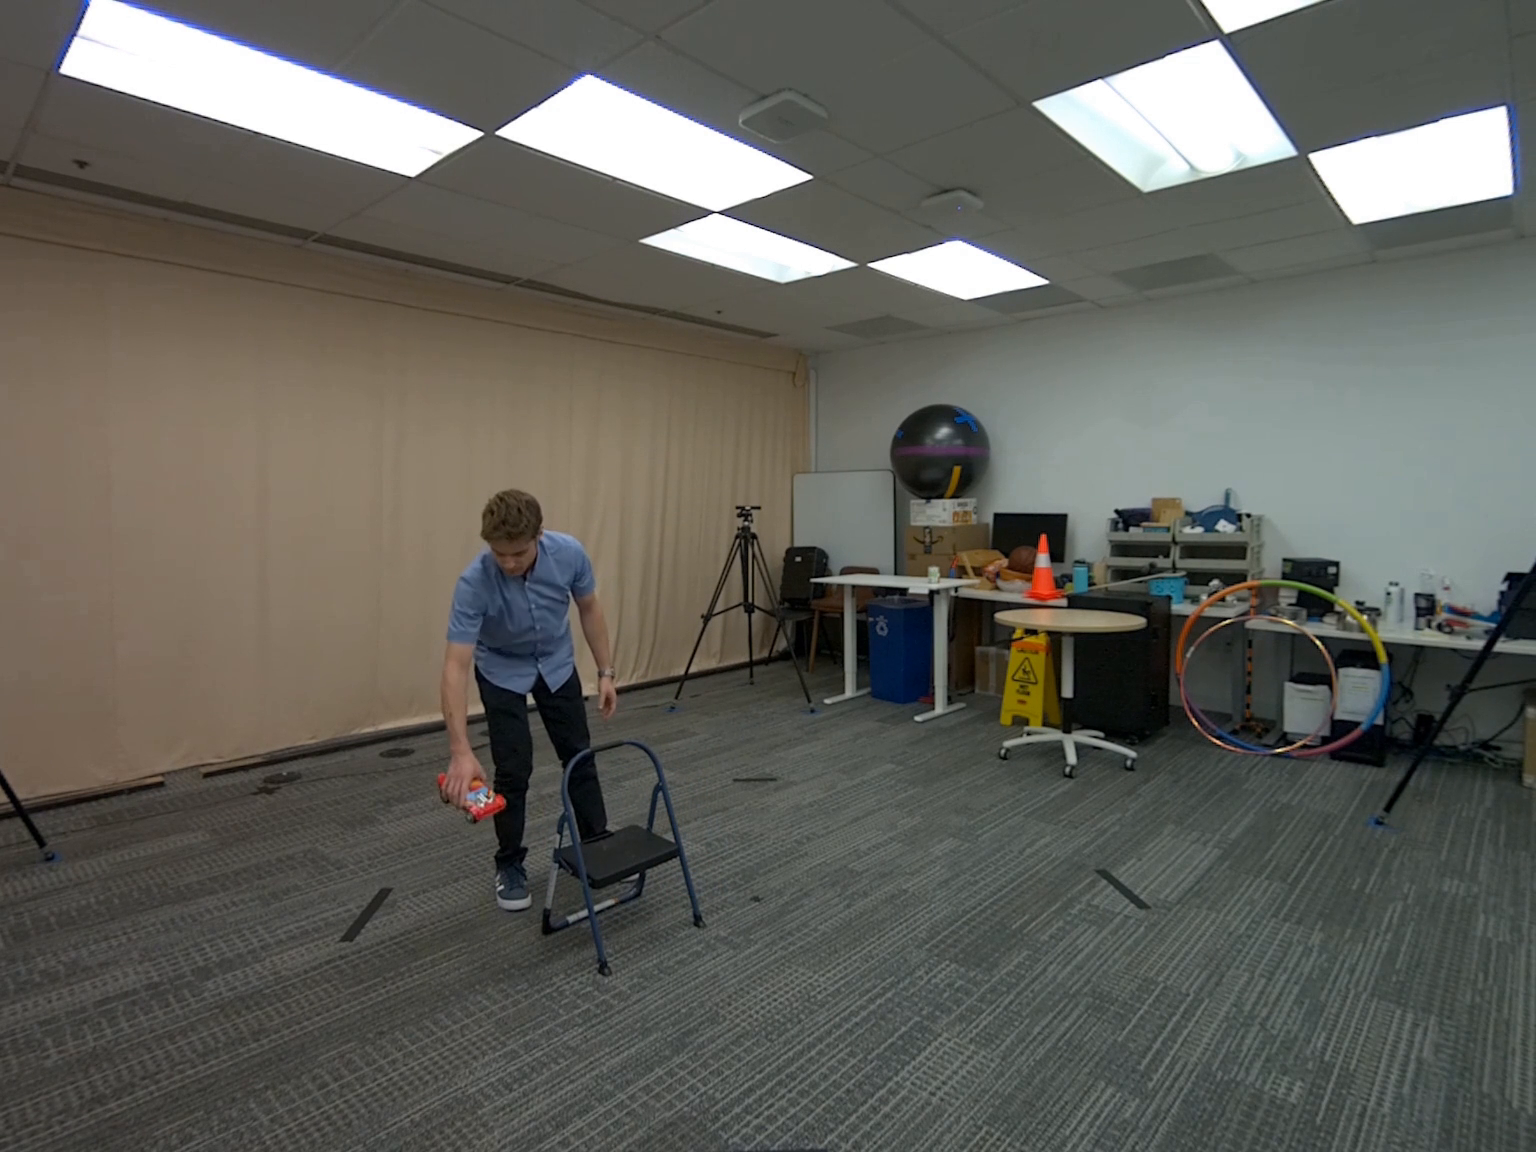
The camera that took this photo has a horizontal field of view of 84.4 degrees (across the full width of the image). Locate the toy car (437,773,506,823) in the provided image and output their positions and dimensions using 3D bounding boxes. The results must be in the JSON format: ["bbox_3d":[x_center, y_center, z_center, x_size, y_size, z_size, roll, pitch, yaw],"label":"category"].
[{"bbox_3d":[-0.910,0.666,2.592,0.263,0.082,0.127,28,32,34],"label":"toy car"}]
